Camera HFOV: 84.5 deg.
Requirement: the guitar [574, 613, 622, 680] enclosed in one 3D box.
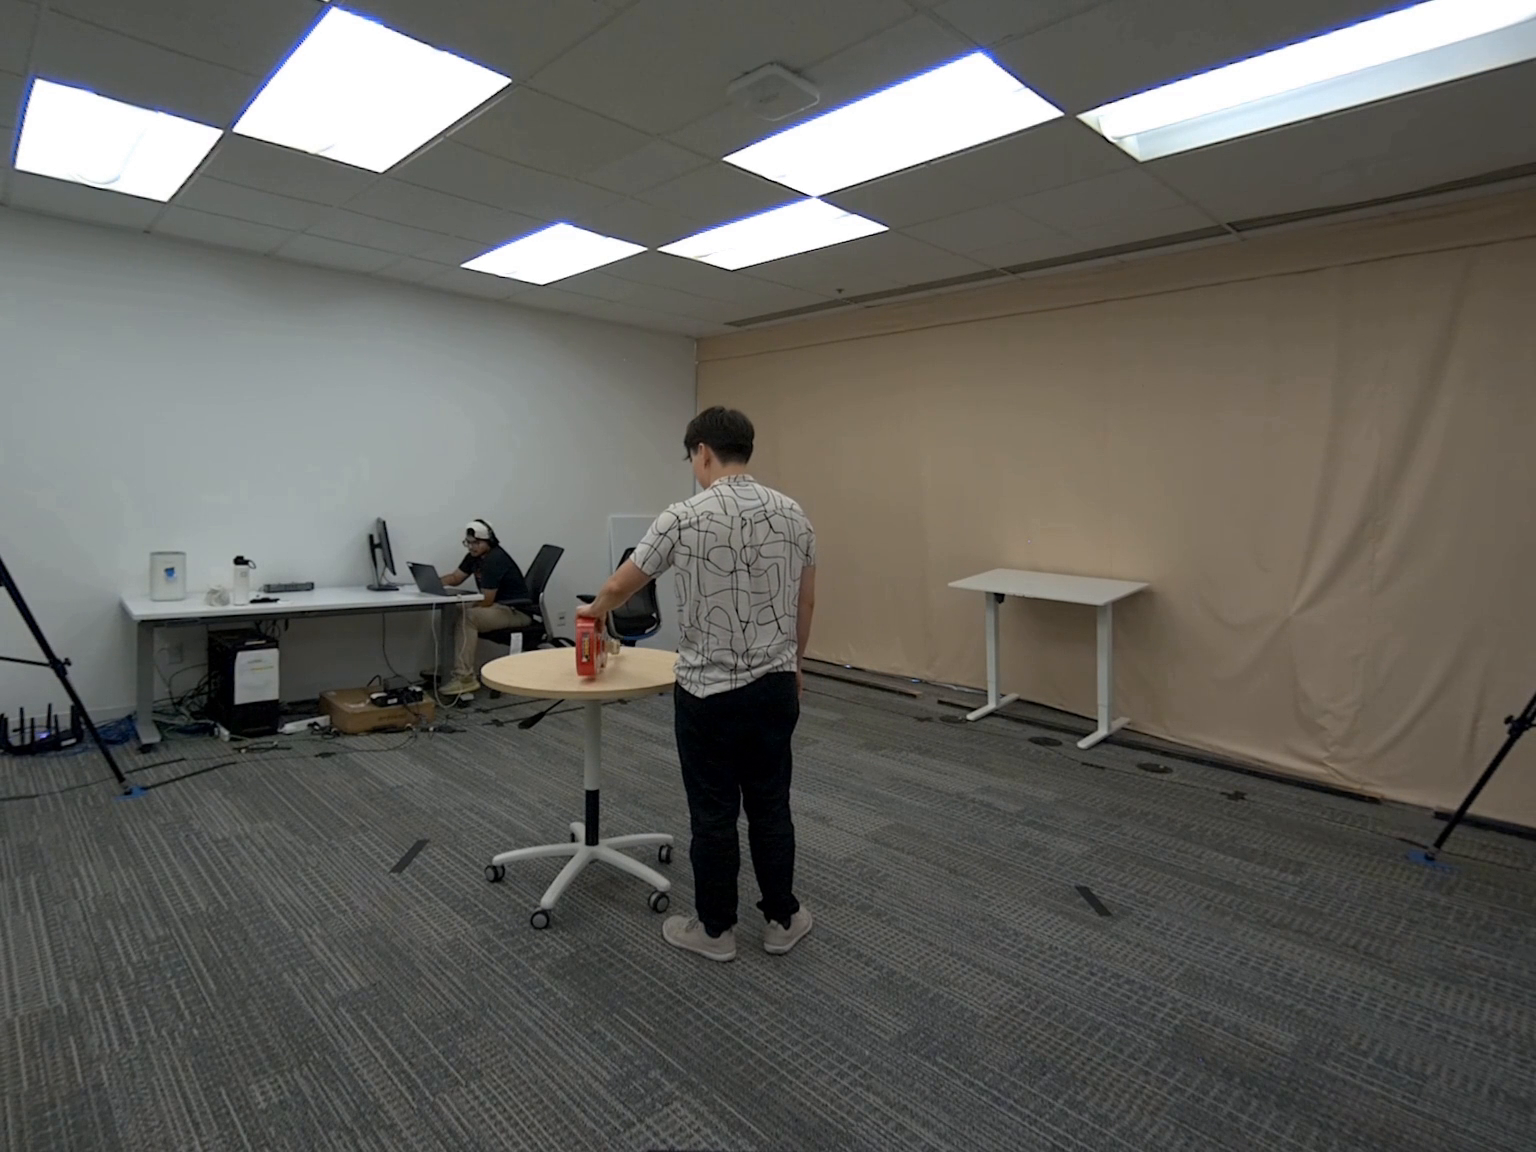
[{"bbox_3d":[-0.587,0.276,2.918,0.071,0.195,0.491,-2,-15,0],"label":"guitar"}]
